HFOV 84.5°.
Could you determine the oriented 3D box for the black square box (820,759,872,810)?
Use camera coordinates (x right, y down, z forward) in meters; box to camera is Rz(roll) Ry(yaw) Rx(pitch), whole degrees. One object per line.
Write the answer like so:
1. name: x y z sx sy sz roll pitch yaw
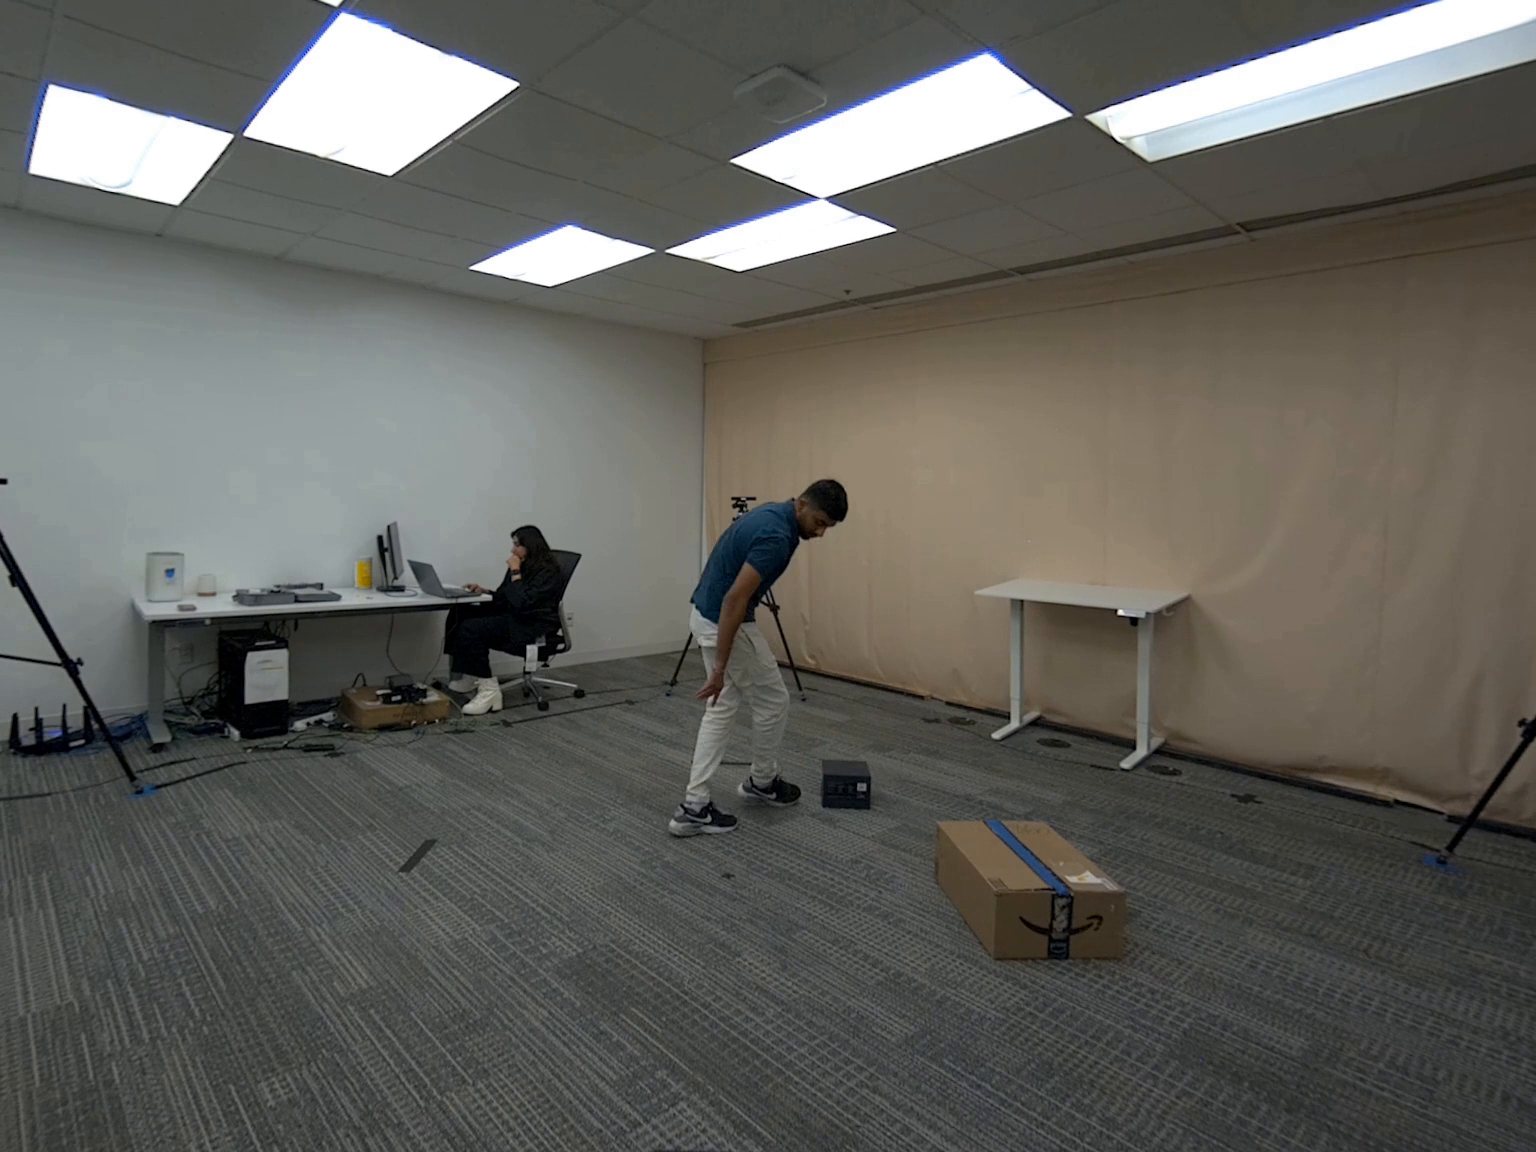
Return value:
1. black square box: 0.351 0.961 3.931 0.217 0.155 0.228 1 4 2
